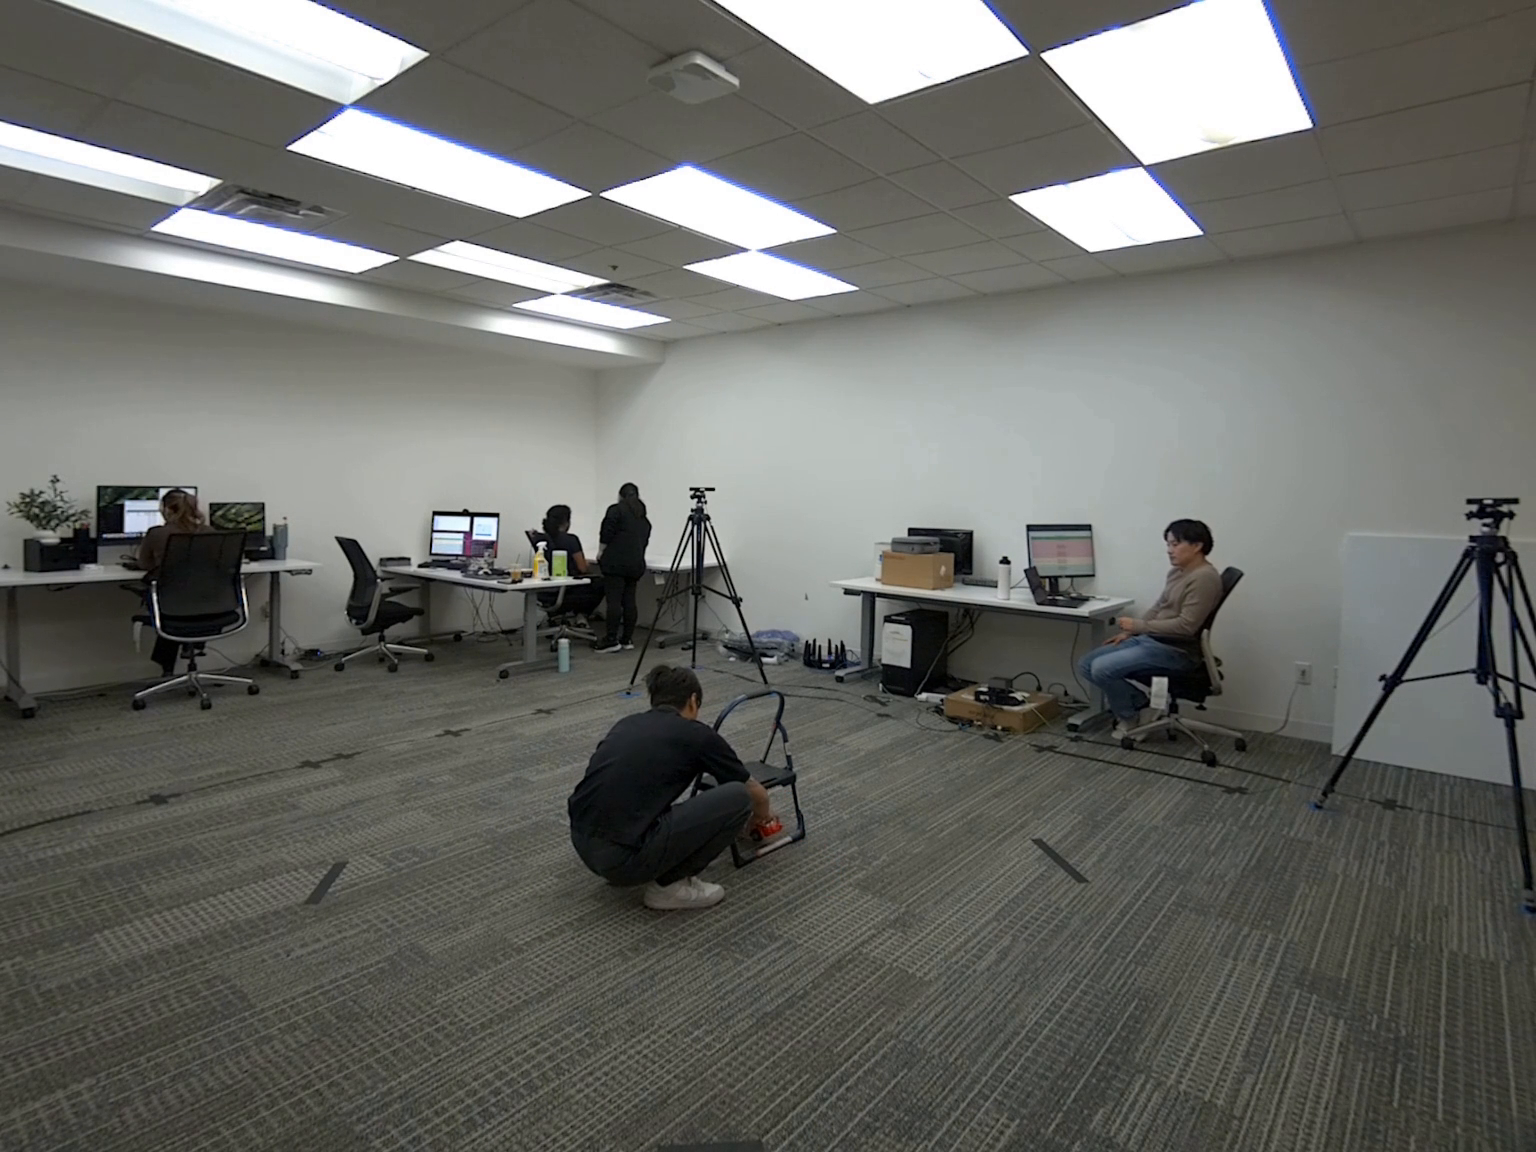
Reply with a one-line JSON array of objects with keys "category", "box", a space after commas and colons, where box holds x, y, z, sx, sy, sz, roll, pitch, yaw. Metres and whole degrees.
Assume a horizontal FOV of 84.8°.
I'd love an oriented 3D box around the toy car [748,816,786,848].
[{"category": "toy car", "box": [-0.068, 0.986, 3.342, 0.260, 0.084, 0.126, -12, -7, 37]}]
